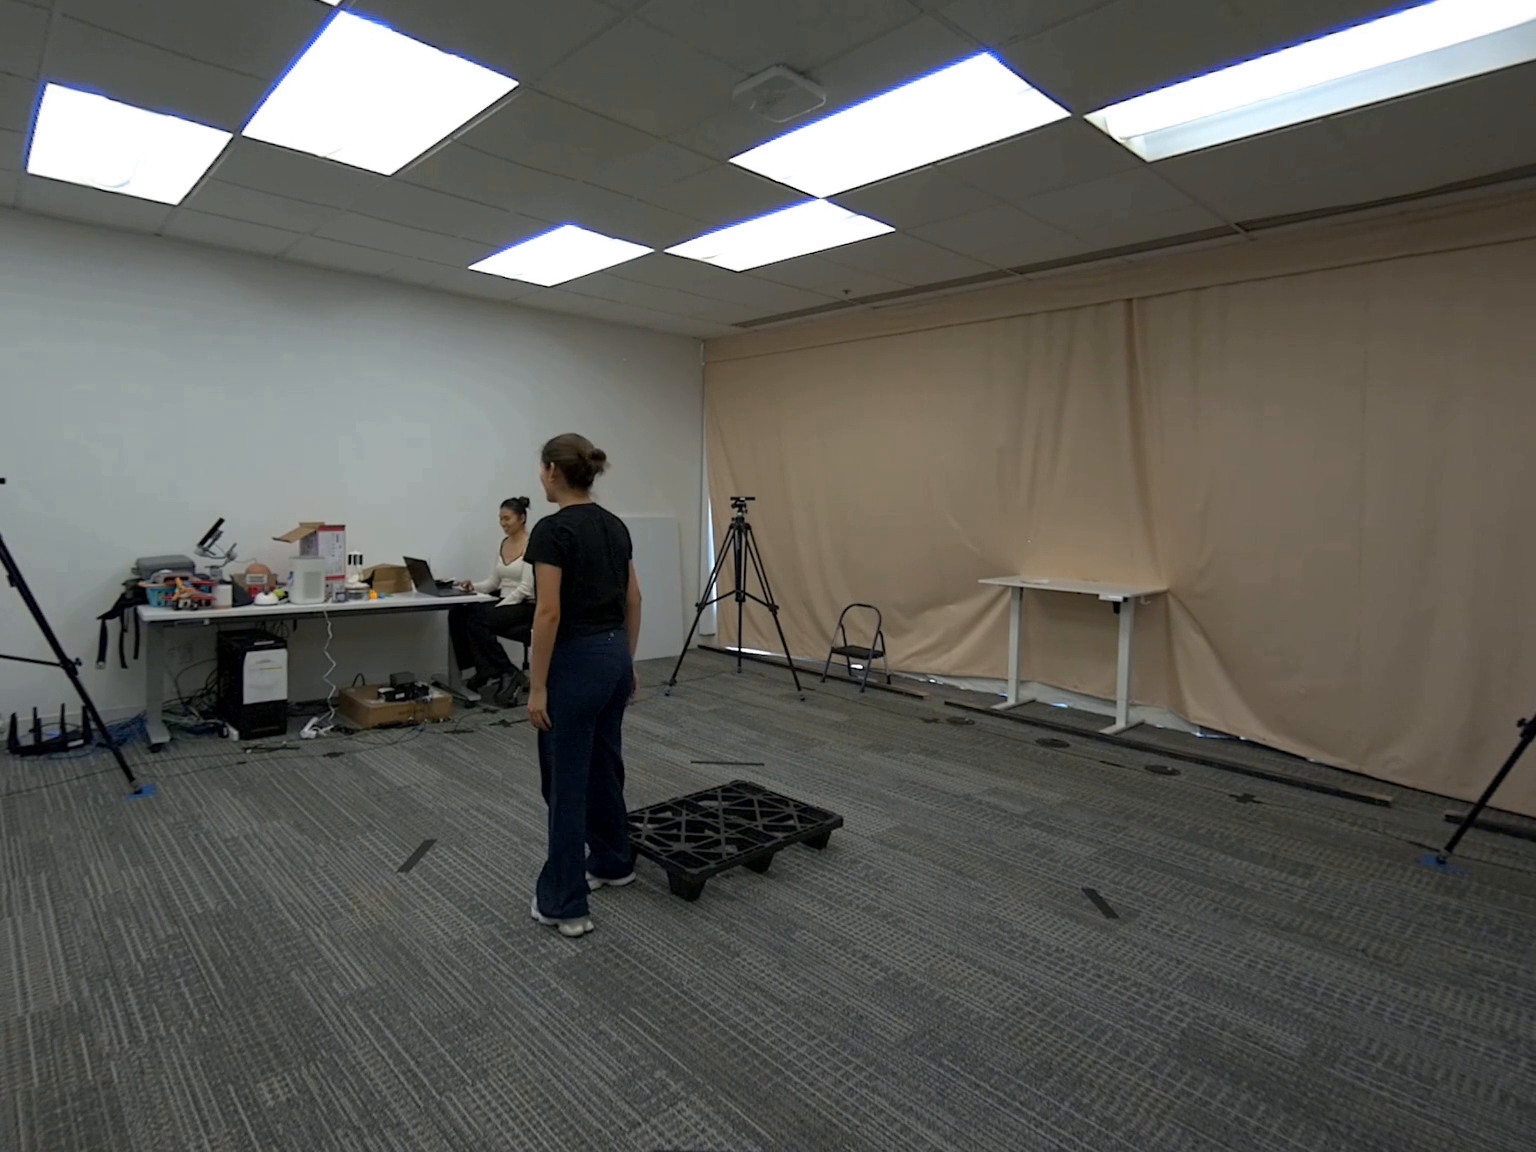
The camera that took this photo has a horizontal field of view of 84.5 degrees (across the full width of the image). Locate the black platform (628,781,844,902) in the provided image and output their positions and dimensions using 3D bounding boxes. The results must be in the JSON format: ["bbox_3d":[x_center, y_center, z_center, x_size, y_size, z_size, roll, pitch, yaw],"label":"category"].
[{"bbox_3d":[-0.192,1.026,3.295,0.787,0.143,0.620,-3,6,-45],"label":"black platform"}]
